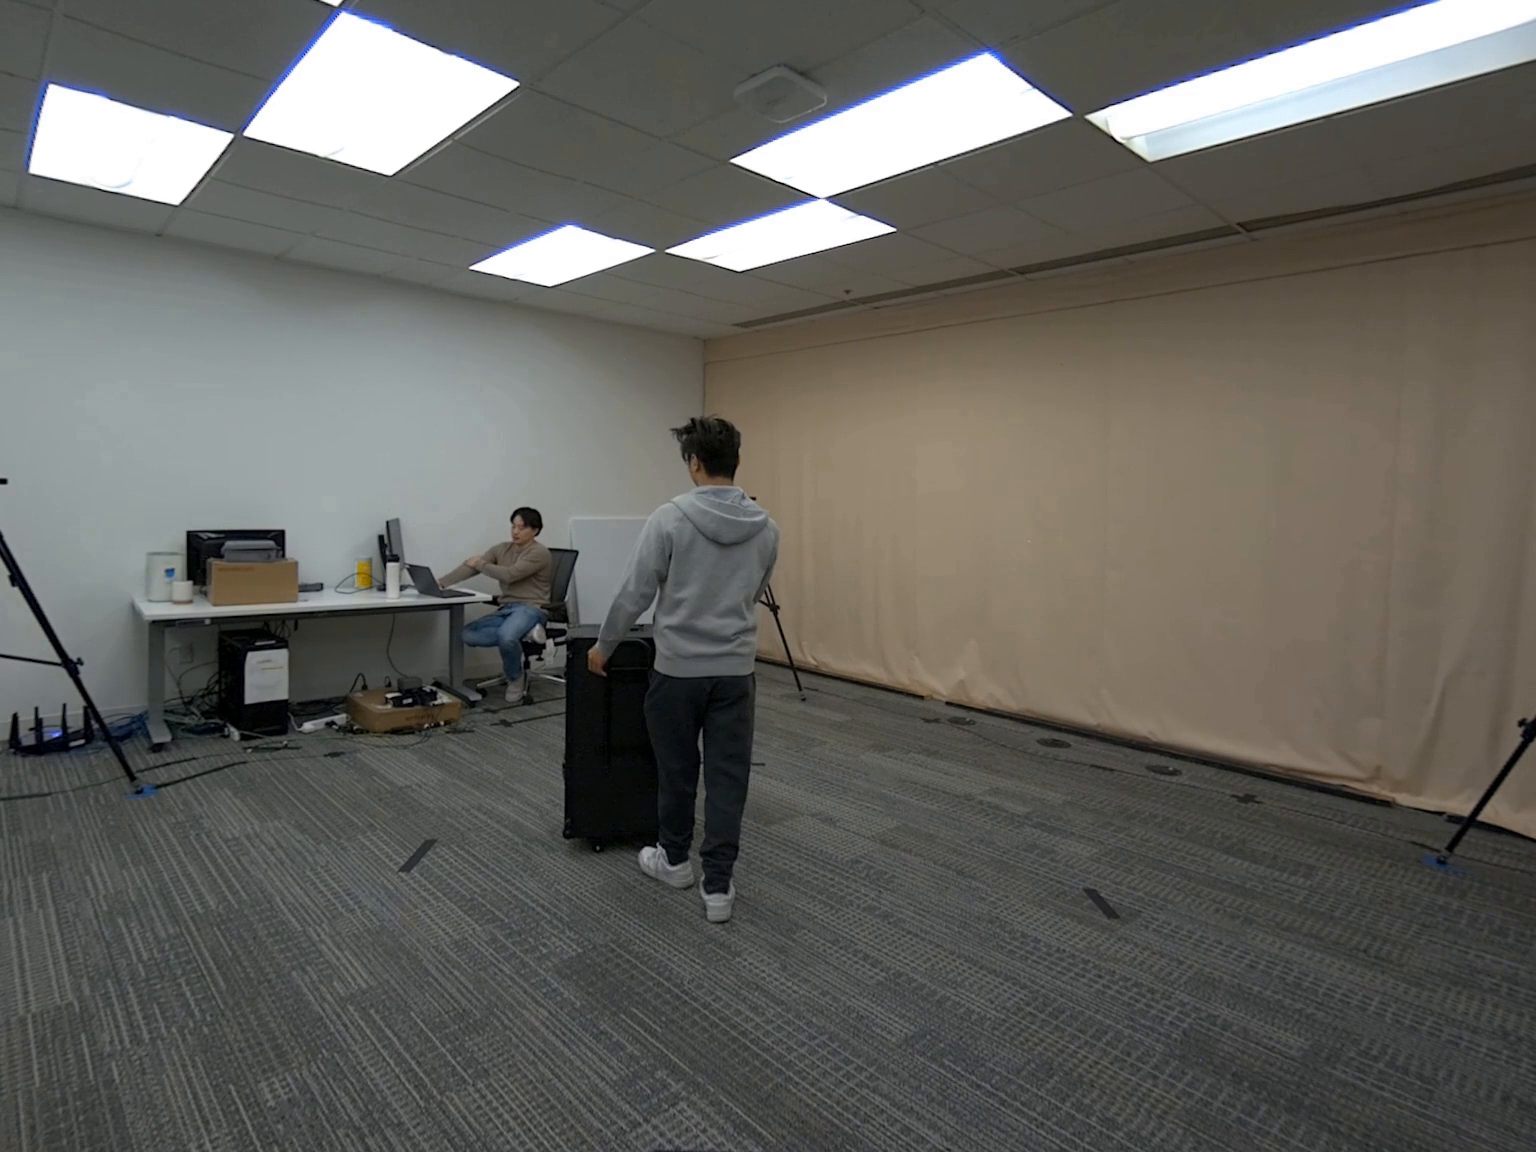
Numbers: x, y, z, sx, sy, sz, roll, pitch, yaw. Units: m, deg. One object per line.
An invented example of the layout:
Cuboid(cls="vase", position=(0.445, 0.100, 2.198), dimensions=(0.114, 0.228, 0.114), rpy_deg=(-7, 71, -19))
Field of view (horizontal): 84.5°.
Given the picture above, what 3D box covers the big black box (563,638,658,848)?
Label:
Cuboid(cls="big black box", position=(-0.587, 0.586, 3.412), dimensions=(0.517, 0.860, 0.400), rpy_deg=(1, 3, -11))
